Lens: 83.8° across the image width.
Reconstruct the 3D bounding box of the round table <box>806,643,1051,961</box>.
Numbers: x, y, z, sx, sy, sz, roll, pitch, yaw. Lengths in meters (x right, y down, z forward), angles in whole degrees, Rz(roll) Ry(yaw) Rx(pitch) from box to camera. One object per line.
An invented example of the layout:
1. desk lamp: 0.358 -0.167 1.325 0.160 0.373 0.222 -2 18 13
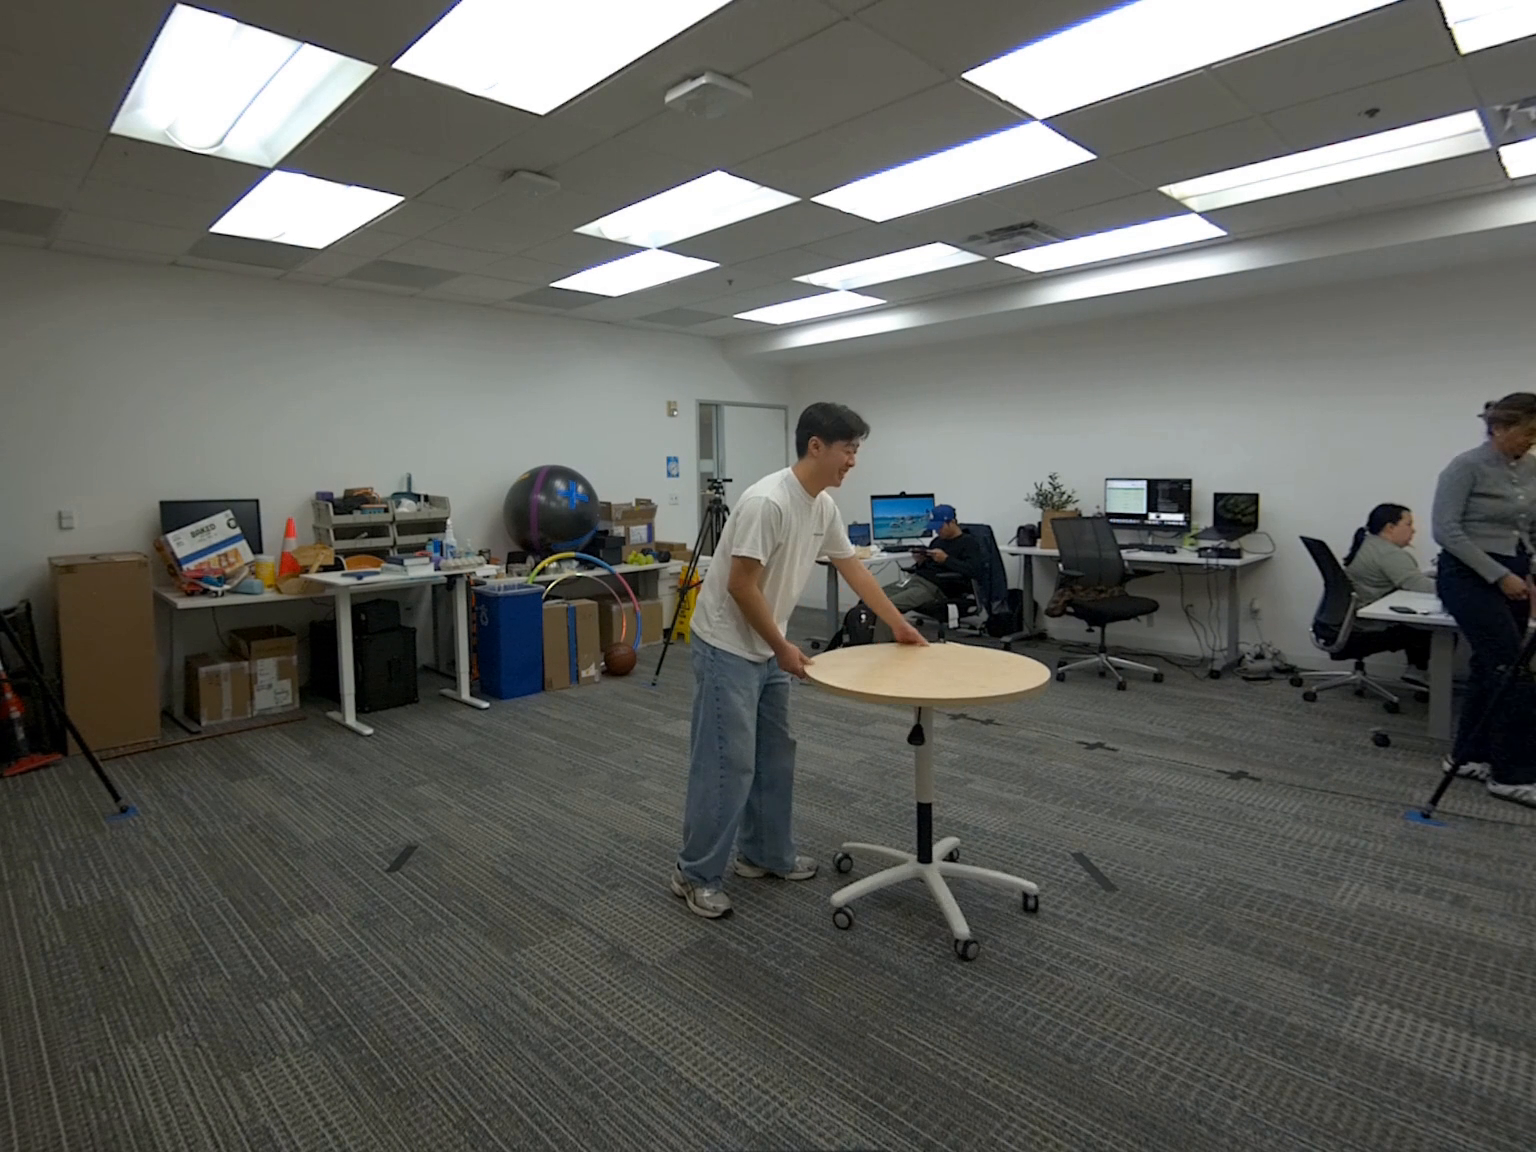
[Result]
1. round table: 0.494 0.678 2.771 0.784 0.783 0.789 -1 5 -2
